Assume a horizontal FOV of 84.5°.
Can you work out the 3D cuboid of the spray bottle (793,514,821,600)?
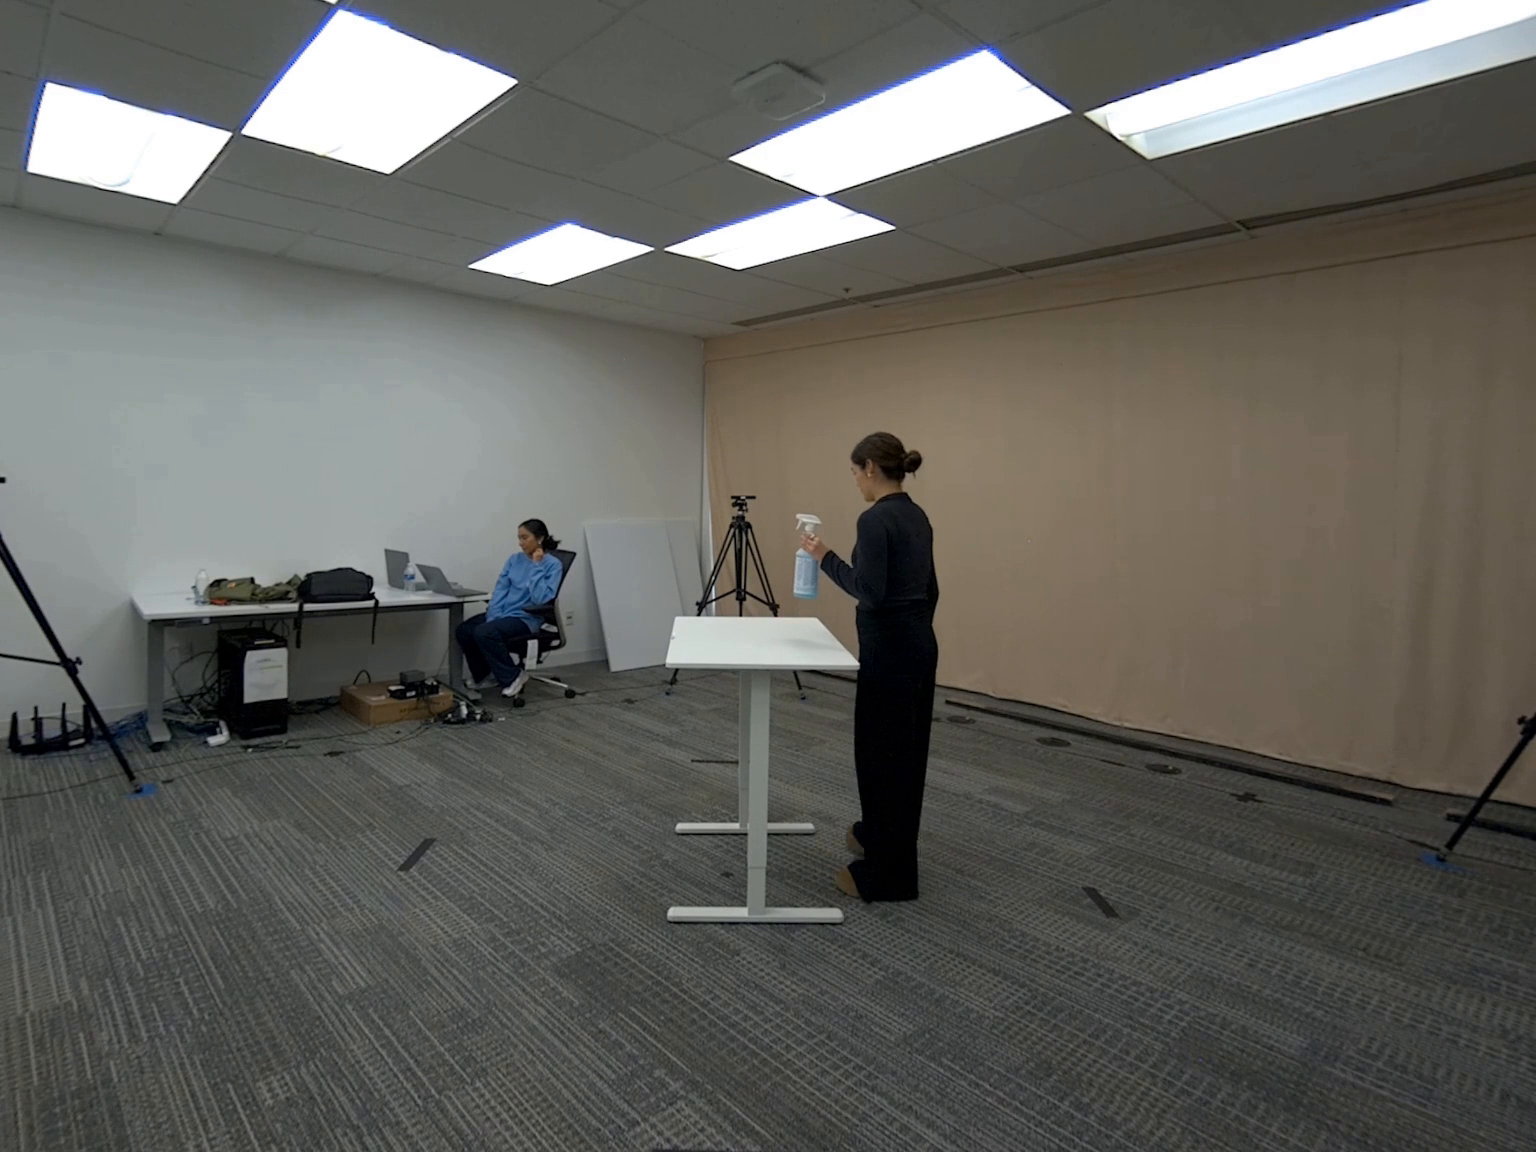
[{"bbox_3d":[0.143,-0.071,3.036,0.092,0.297,0.085,5,3,22],"label":"spray bottle"}]
